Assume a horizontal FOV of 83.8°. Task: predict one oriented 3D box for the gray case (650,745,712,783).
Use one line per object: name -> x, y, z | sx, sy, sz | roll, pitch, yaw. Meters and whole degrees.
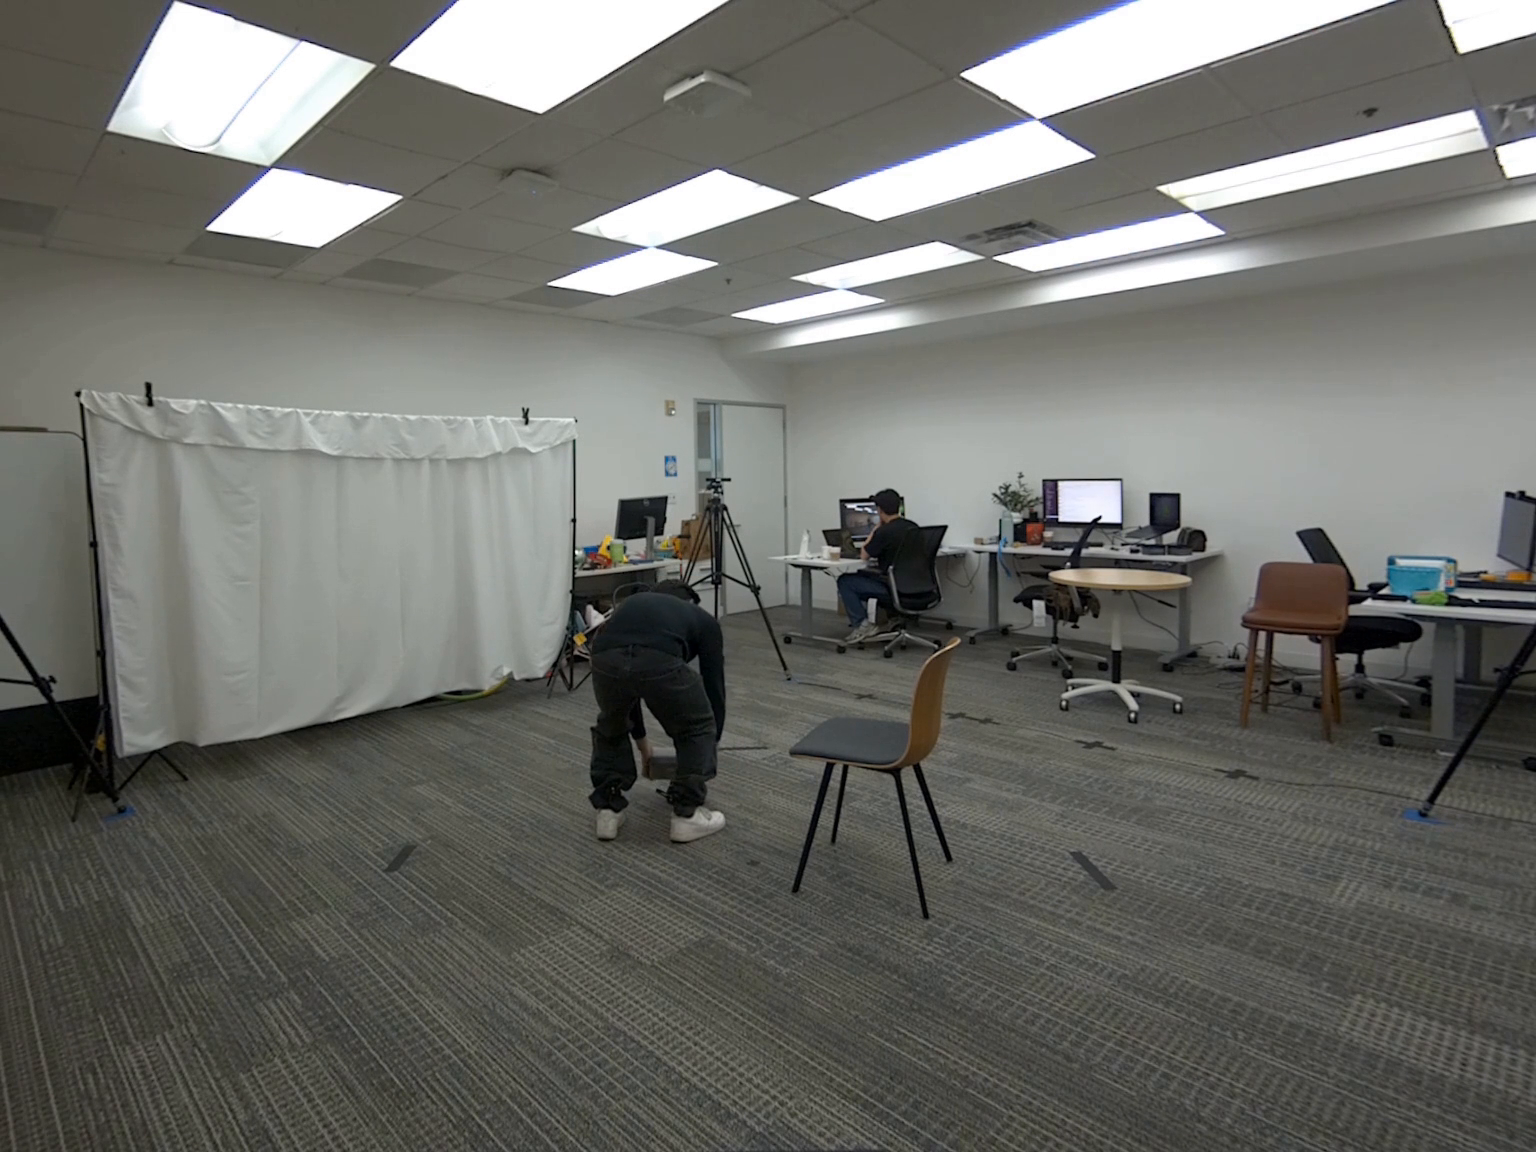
gray case -> -0.380, 0.809, 3.704 | 0.255, 0.105, 0.261 | 3, -4, -6
